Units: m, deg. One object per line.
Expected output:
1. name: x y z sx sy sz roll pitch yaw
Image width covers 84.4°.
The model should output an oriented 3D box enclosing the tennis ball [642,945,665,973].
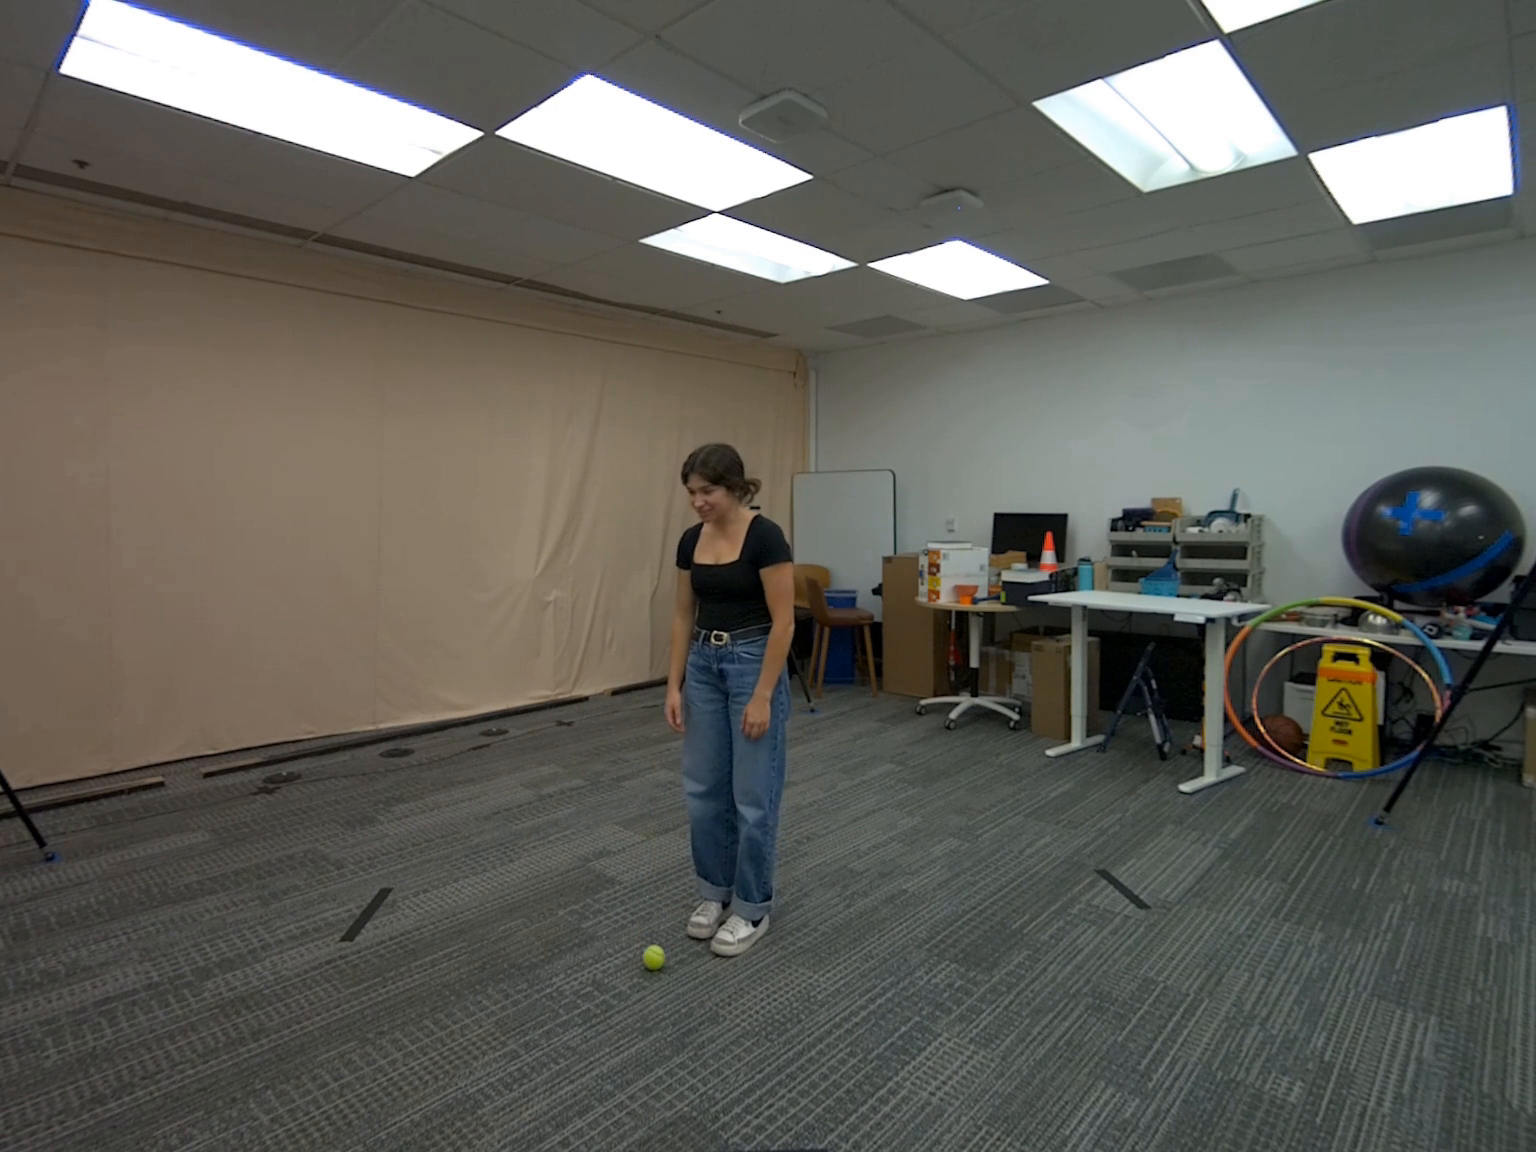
1. tennis ball: -0.342 1.141 2.520 0.066 0.066 0.067 0 4 -2
